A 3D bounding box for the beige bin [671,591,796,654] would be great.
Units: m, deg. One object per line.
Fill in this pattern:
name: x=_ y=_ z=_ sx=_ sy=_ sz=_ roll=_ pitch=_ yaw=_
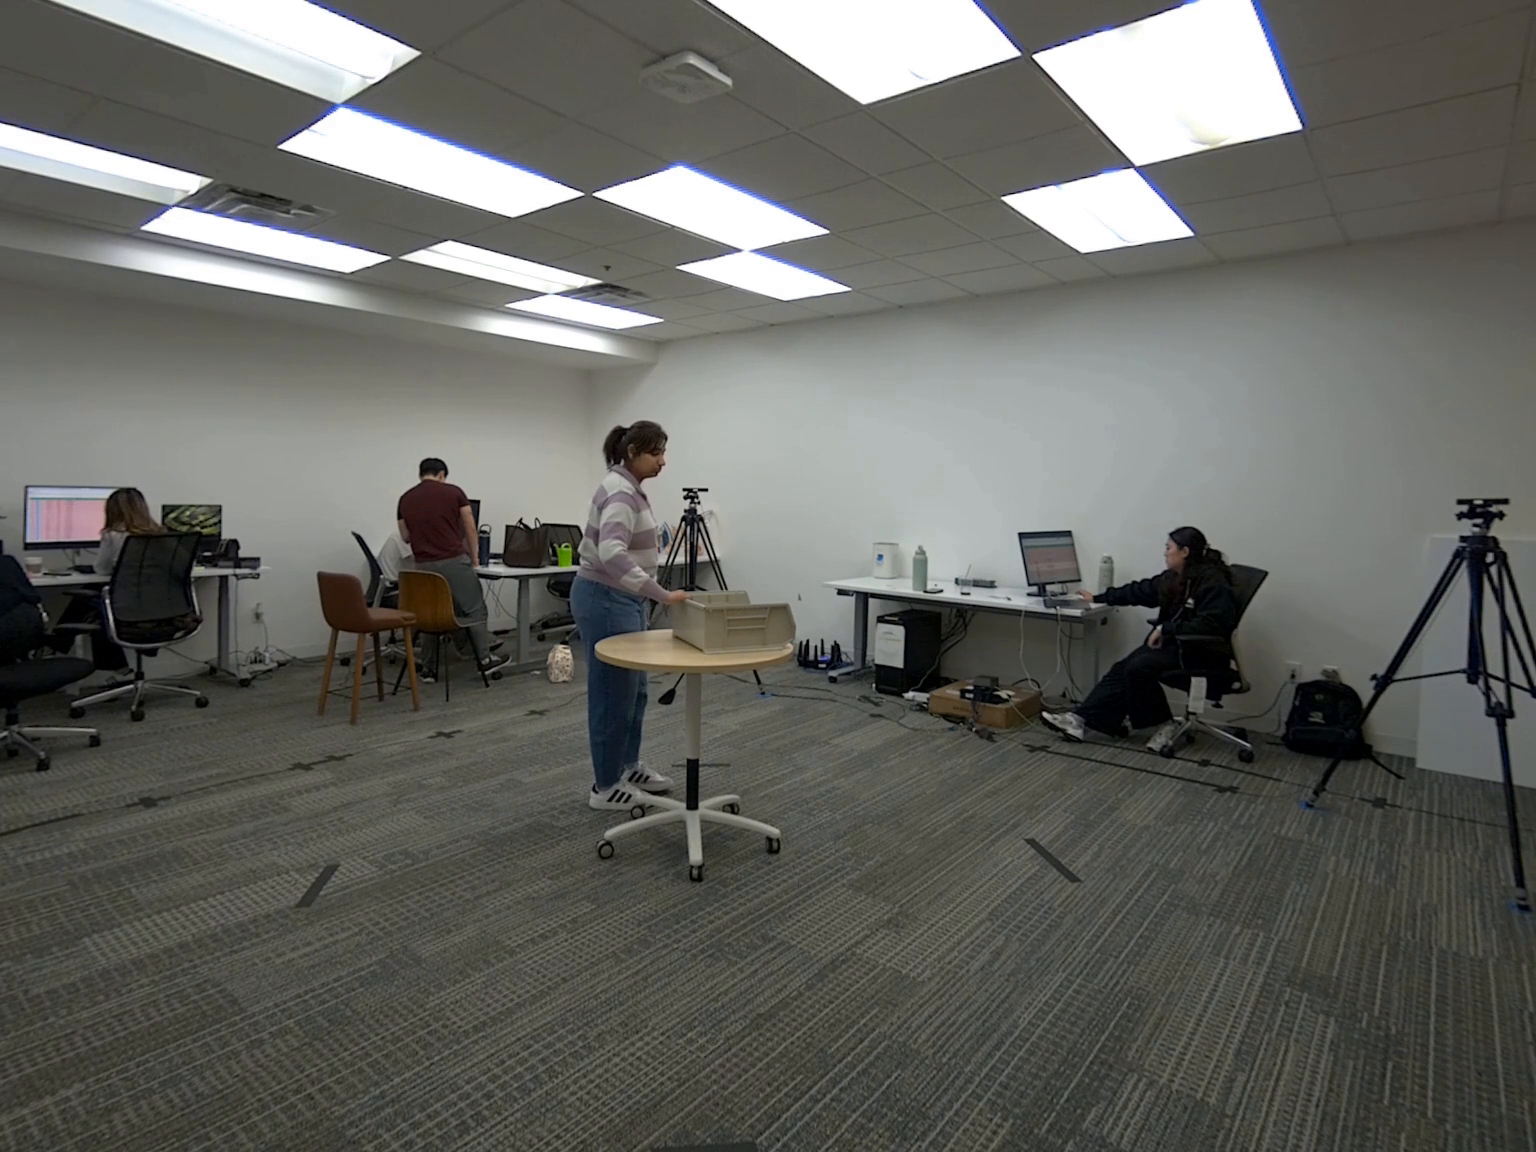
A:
beige bin: x=-0.160 y=0.167 z=3.357 sx=0.370 sy=0.188 sz=0.433 roll=-4 pitch=7 yaw=-21
